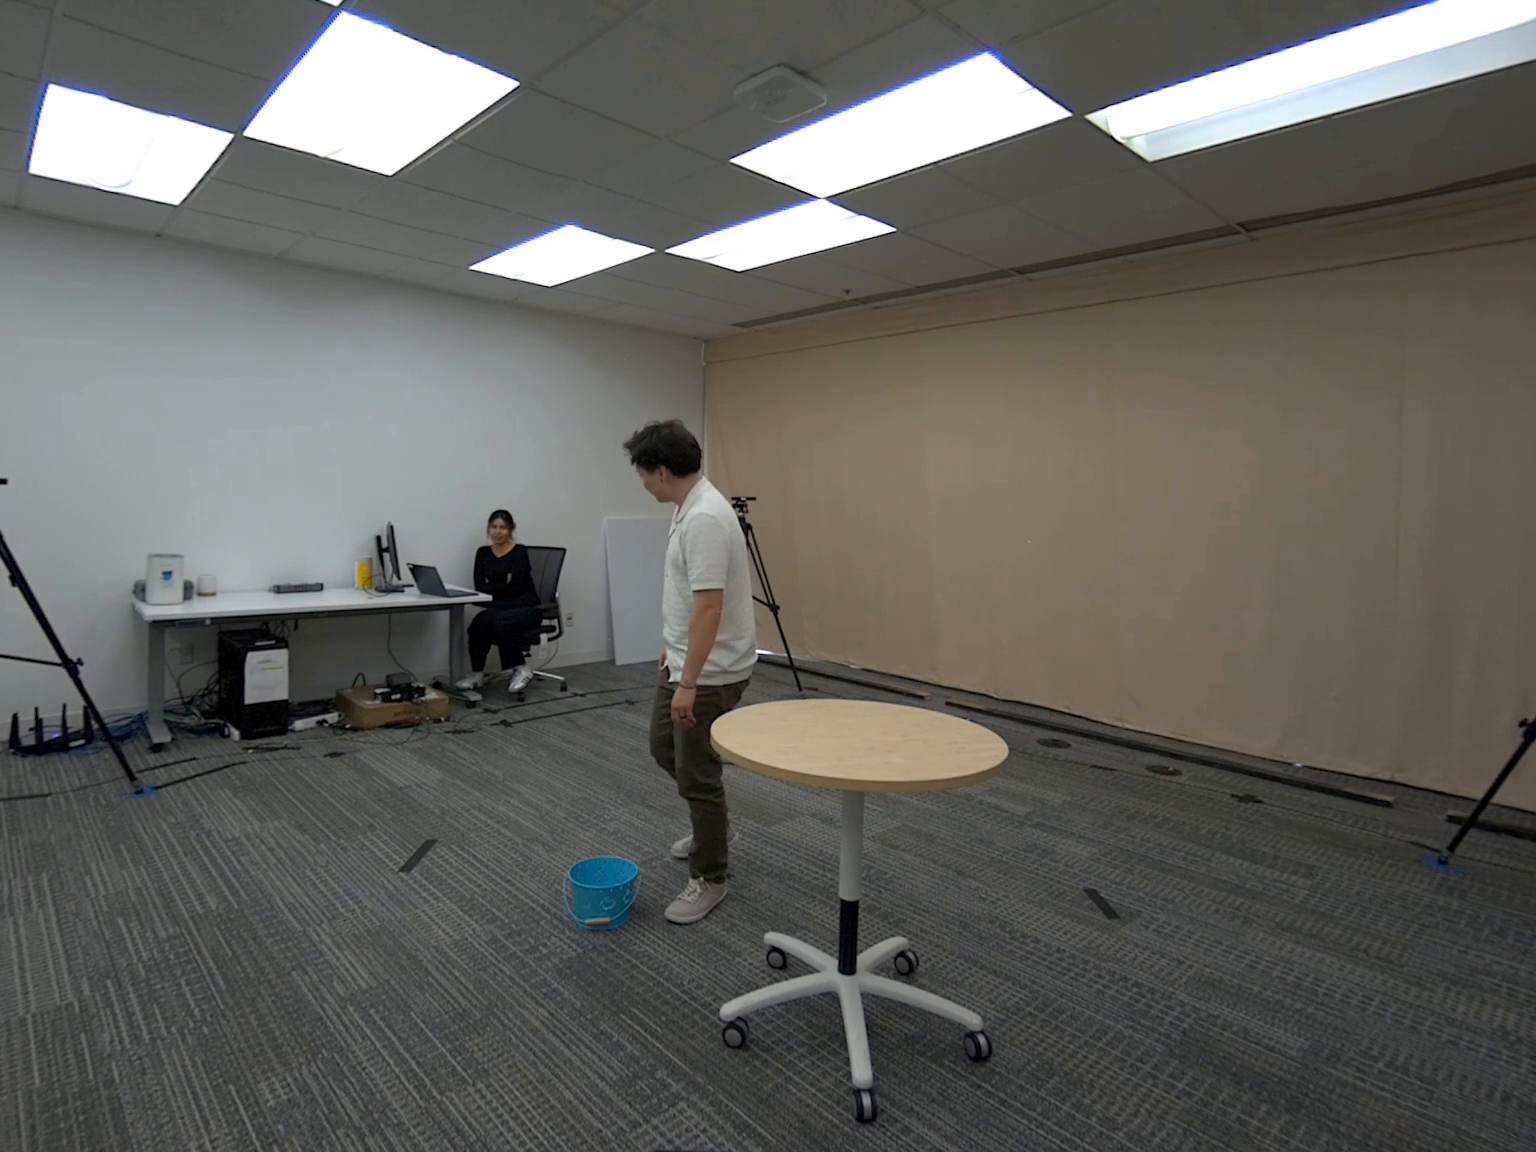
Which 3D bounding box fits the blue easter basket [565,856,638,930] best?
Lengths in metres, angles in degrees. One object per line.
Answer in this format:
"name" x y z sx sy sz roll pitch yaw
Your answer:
"blue easter basket" -0.551 1.048 2.777 0.243 0.155 0.244 1 5 -1
